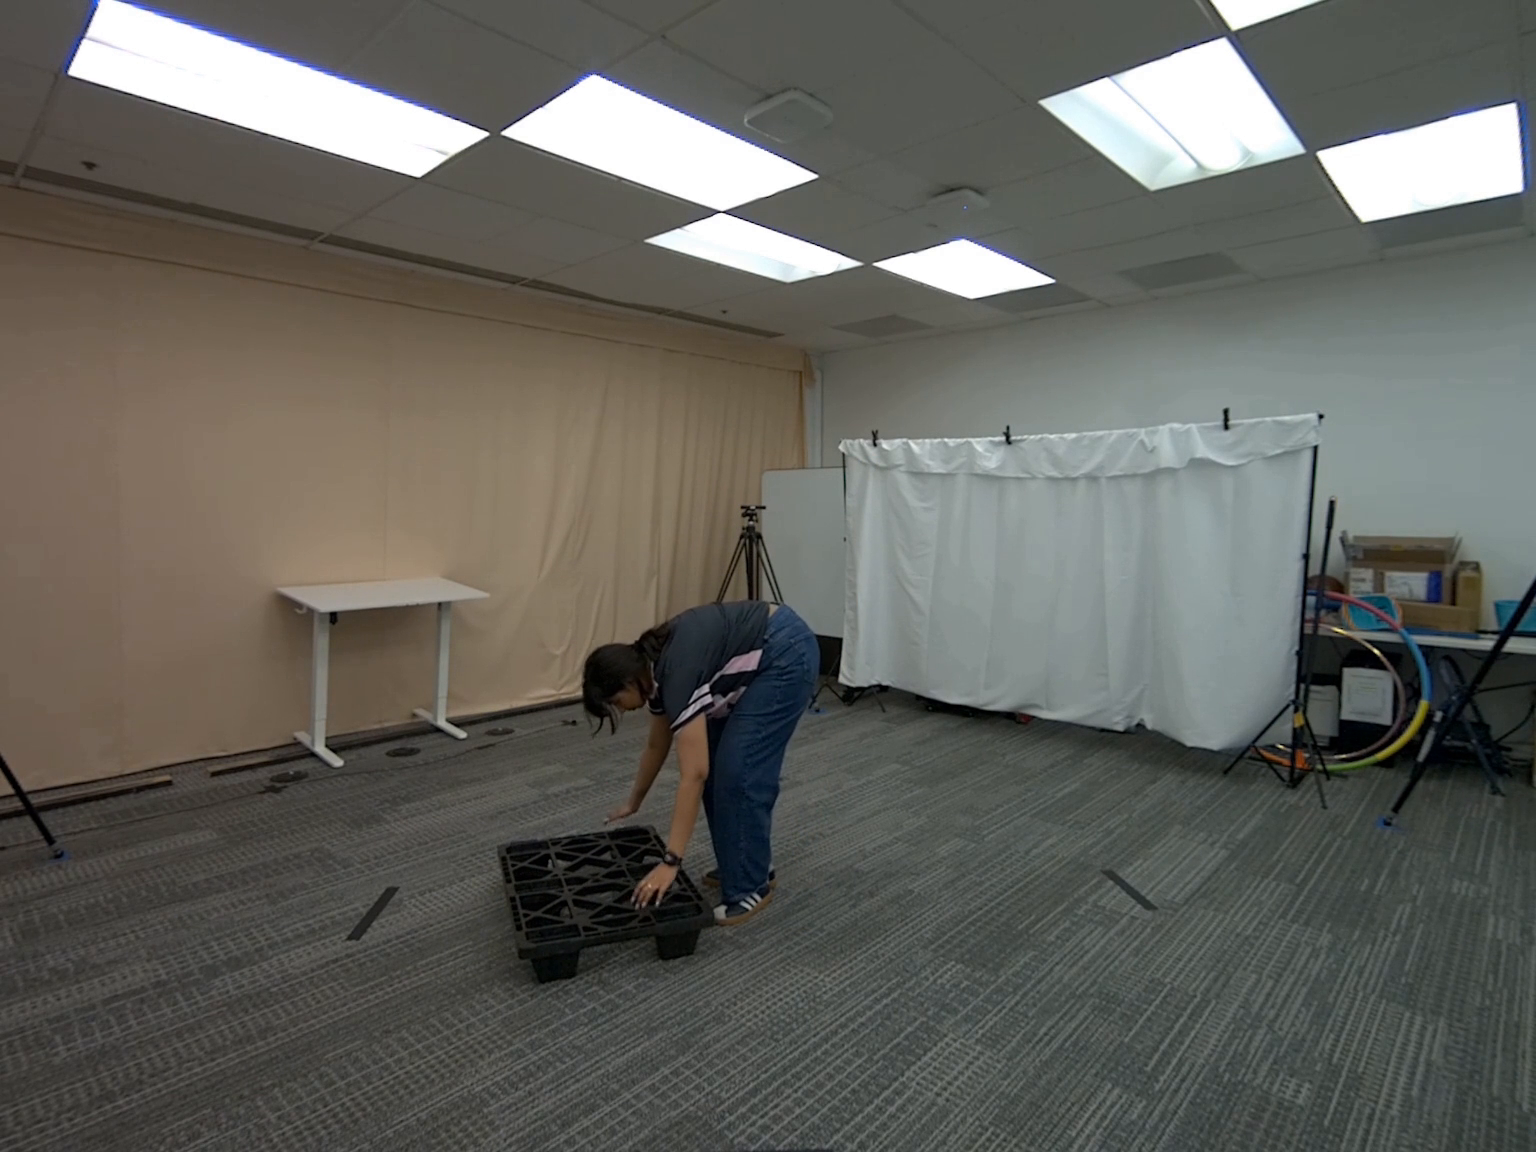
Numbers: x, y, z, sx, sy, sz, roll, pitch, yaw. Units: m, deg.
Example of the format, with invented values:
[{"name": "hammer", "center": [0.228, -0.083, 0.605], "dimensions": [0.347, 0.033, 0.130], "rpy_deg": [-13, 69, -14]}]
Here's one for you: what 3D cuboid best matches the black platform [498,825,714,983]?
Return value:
[{"name": "black platform", "center": [-0.586, 1.088, 2.876], "dimensions": [0.593, 0.143, 0.824], "rpy_deg": [-2, 5, -21]}]
